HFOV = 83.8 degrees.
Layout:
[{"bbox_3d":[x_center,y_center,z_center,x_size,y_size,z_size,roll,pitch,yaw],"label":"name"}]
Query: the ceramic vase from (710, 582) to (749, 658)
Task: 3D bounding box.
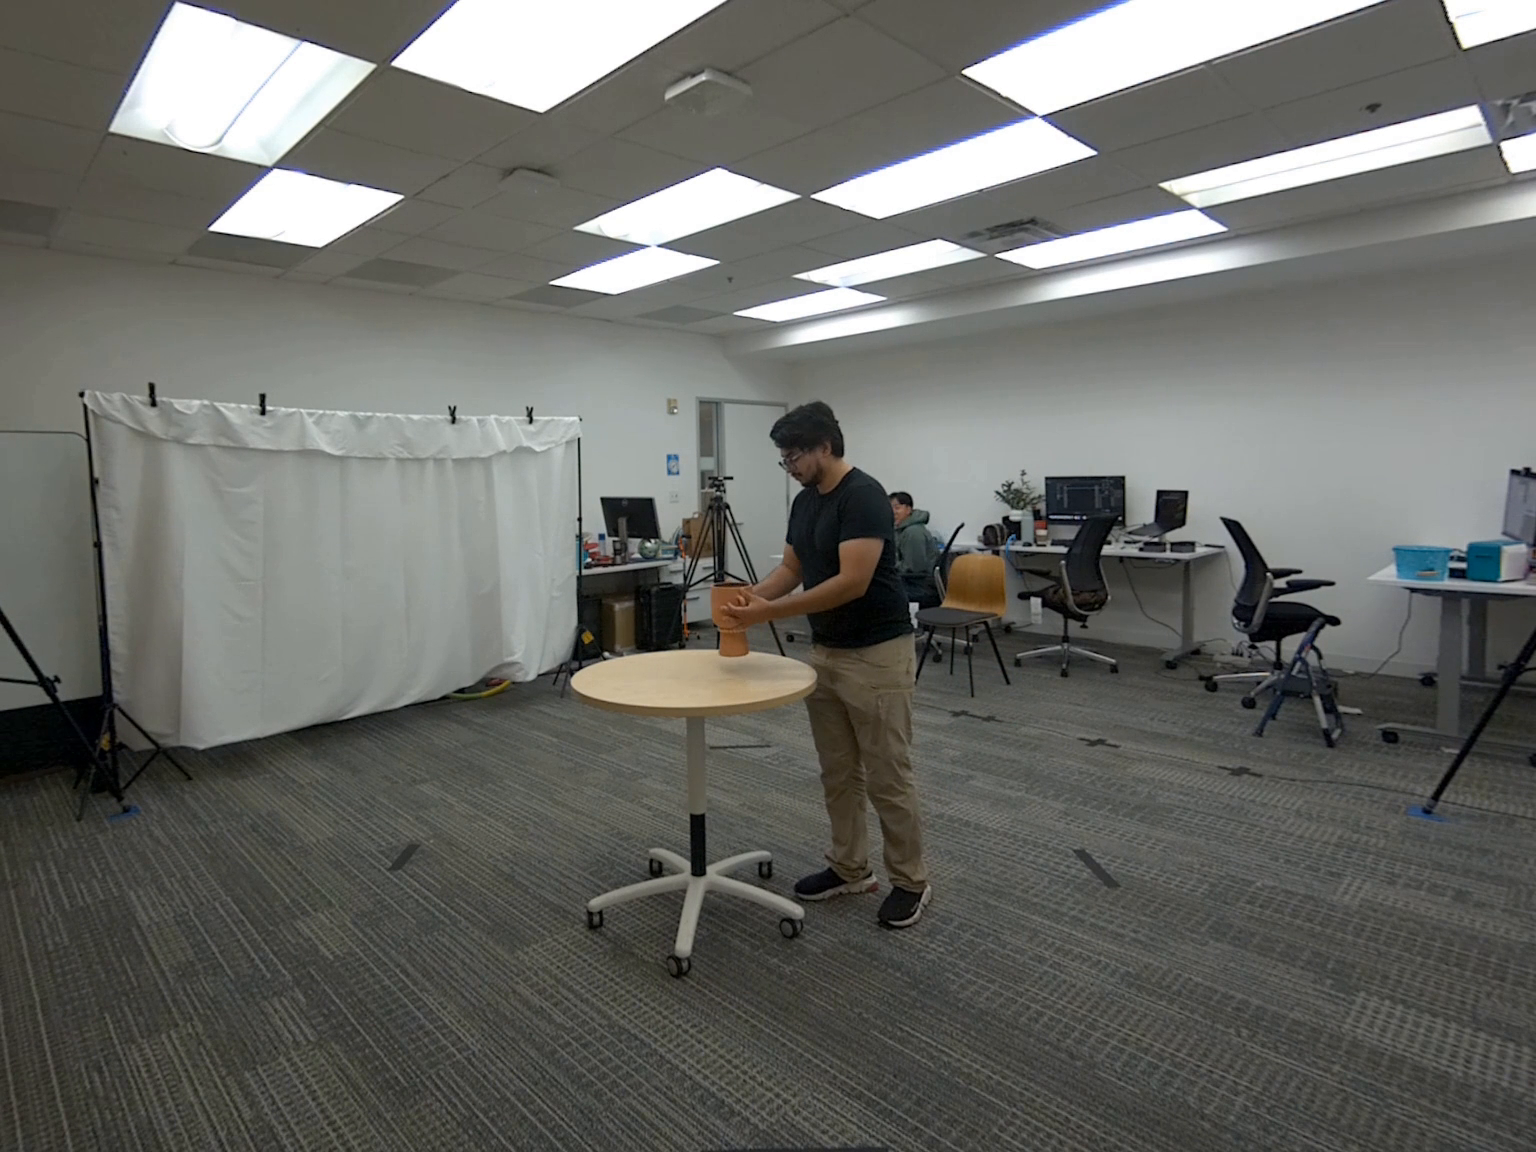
[{"bbox_3d":[-0.100,0.137,2.687,0.136,0.219,0.157,-2,5,13],"label":"ceramic vase"}]
